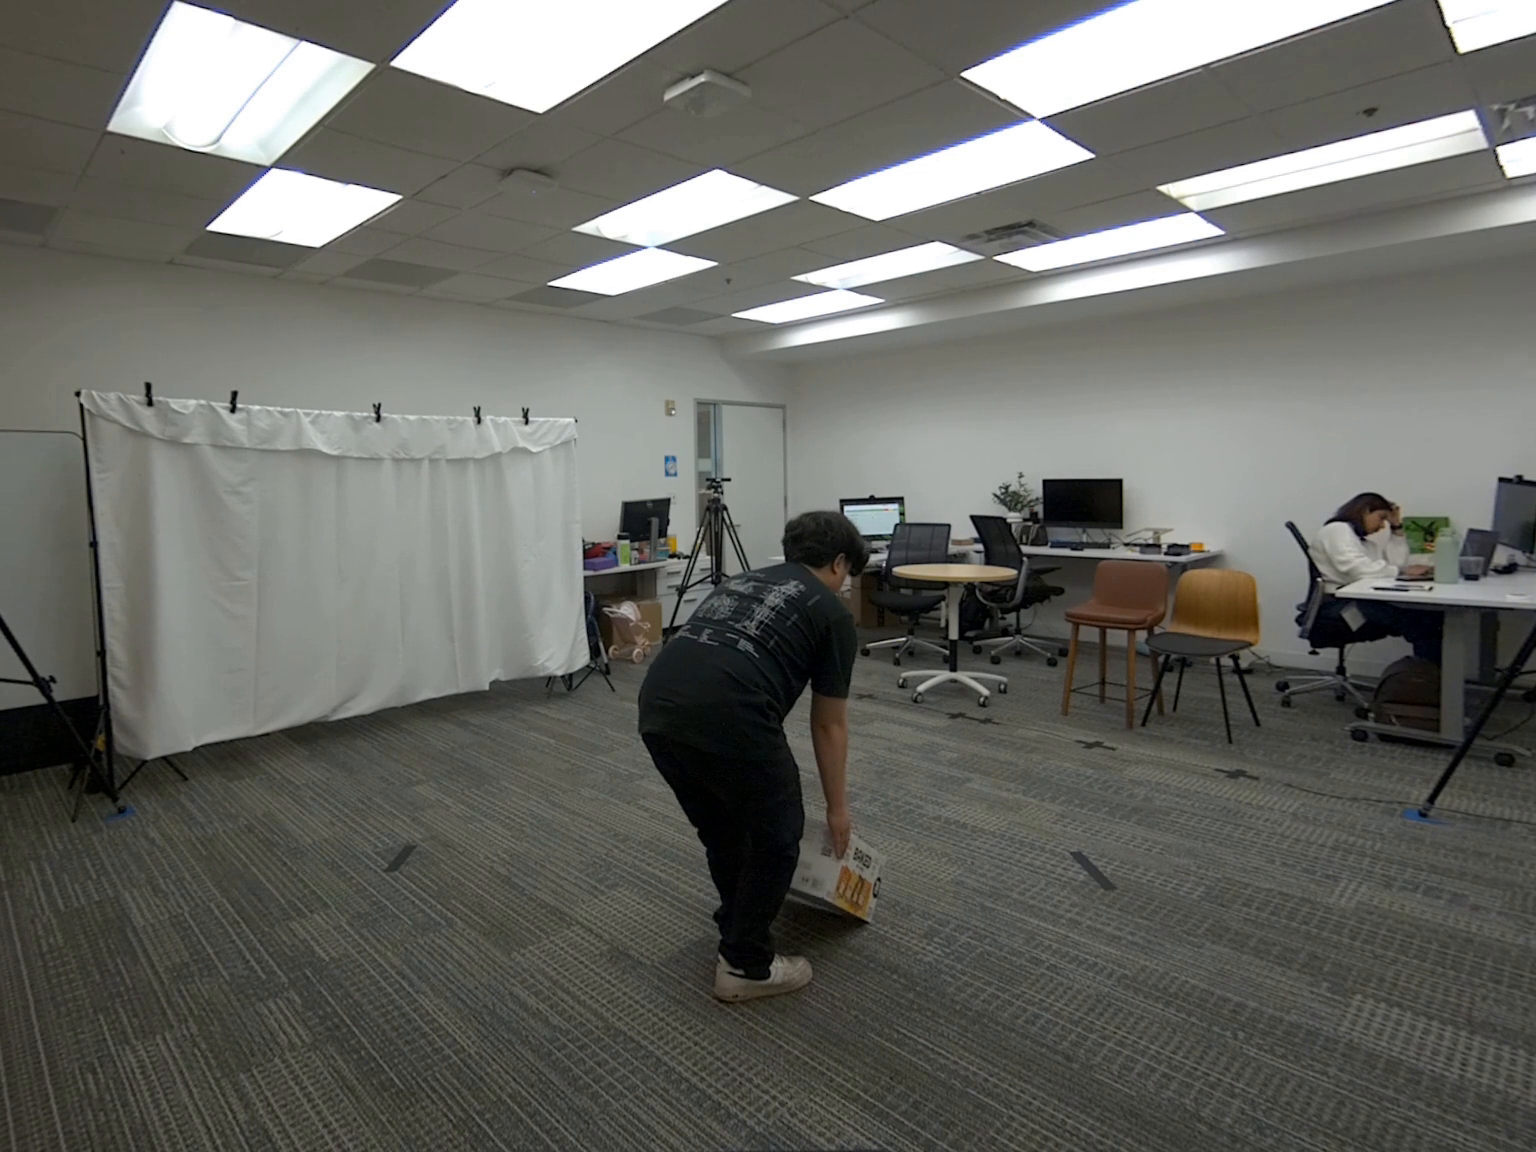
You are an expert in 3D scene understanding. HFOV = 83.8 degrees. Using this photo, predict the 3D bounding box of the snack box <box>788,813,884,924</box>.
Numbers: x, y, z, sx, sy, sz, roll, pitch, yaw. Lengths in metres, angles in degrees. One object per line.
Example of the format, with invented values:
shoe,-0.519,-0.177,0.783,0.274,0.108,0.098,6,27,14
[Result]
snack box,0.129,0.892,2.663,0.350,0.208,0.389,6,-26,32
